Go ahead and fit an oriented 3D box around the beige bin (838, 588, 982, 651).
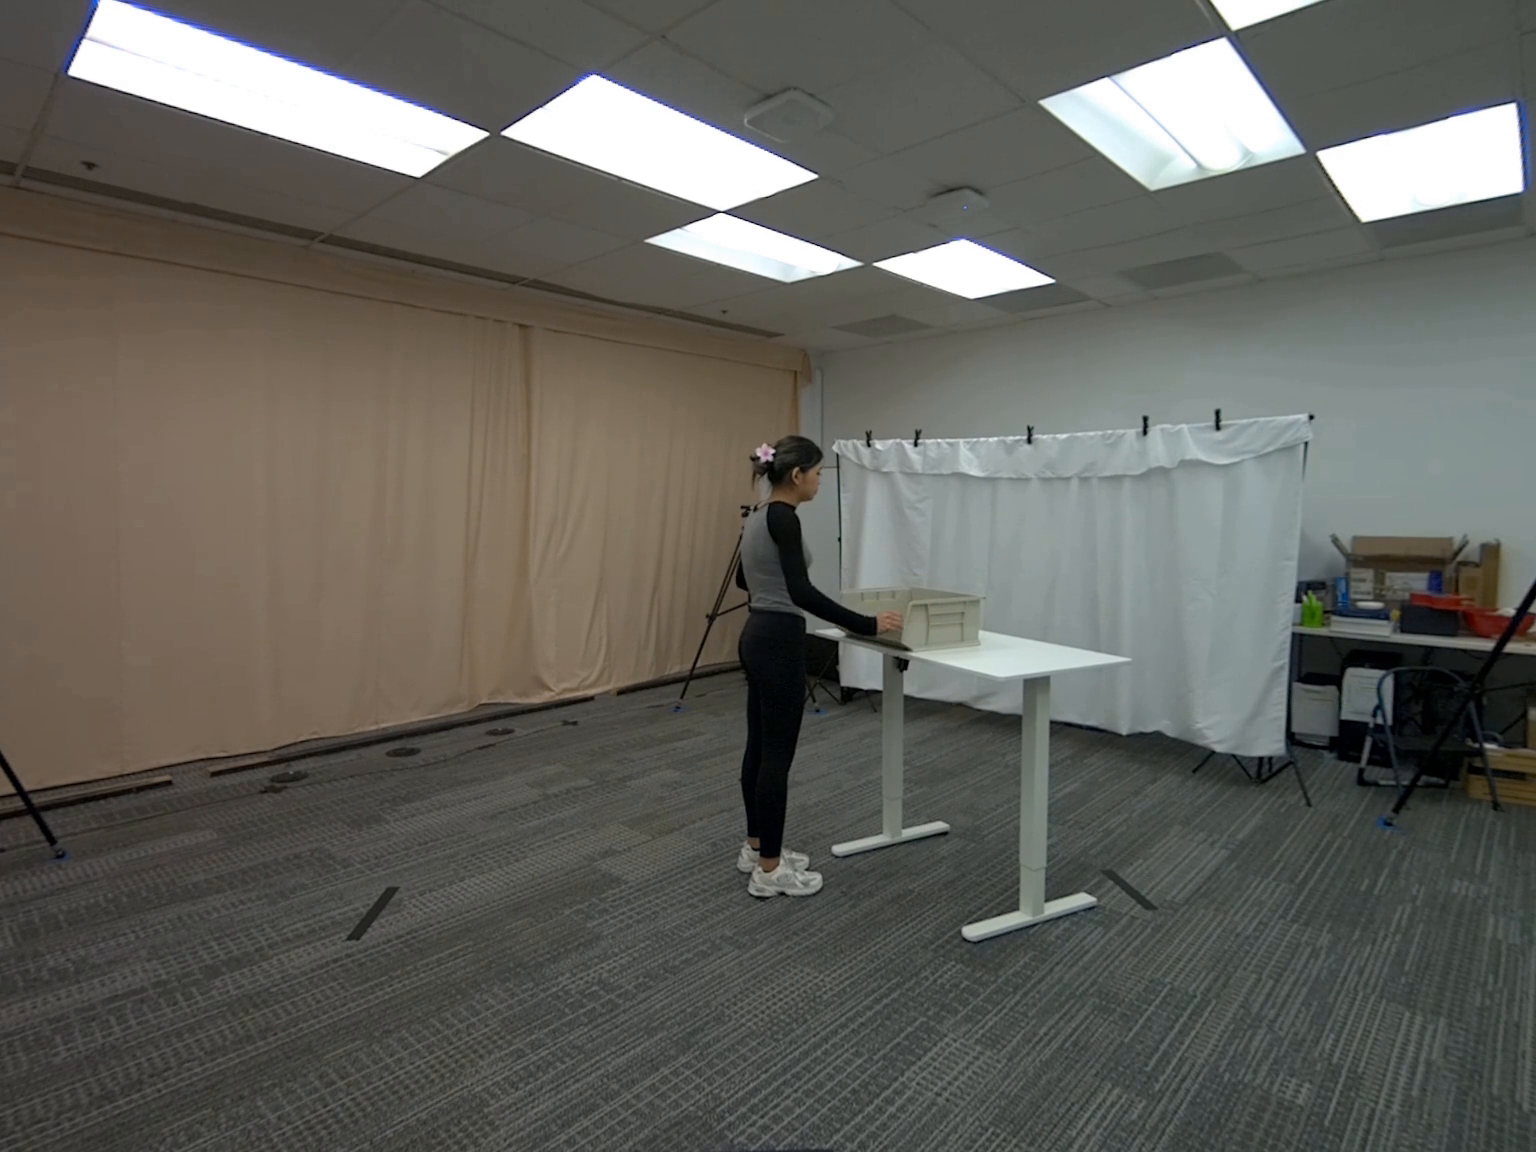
[{"bbox_3d":[0.518,0.156,3.153,0.367,0.188,0.434,-1,4,-28],"label":"beige bin"}]
